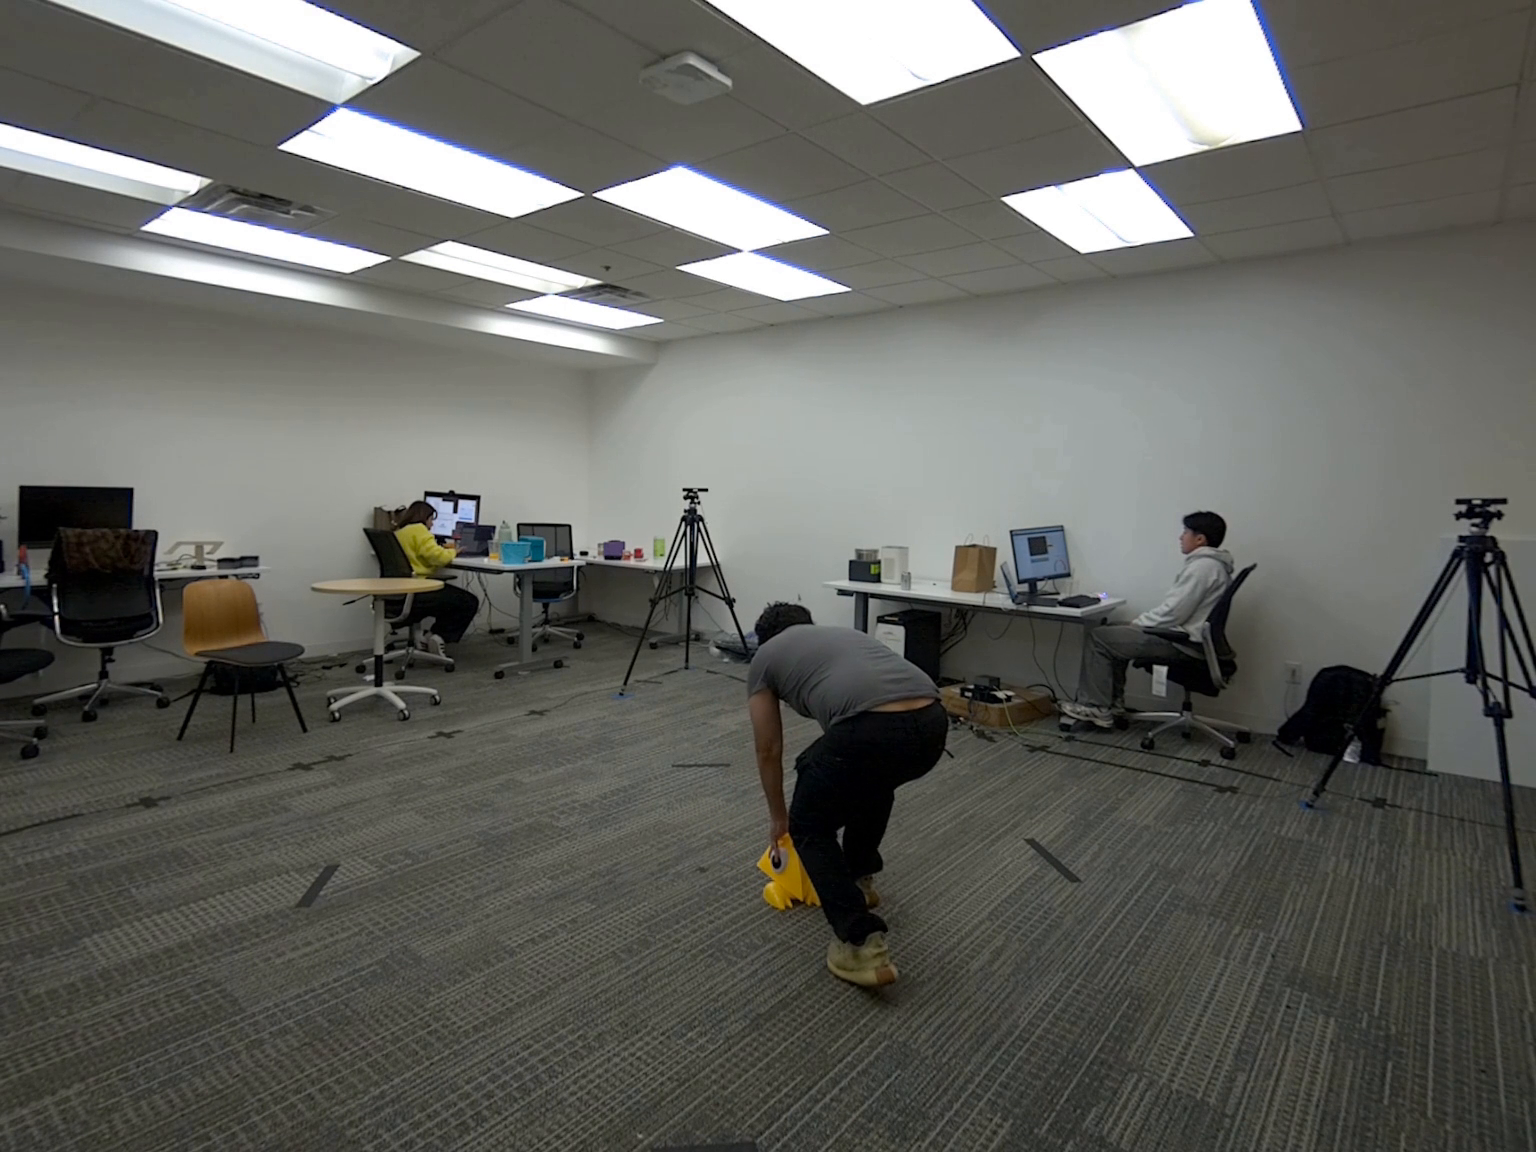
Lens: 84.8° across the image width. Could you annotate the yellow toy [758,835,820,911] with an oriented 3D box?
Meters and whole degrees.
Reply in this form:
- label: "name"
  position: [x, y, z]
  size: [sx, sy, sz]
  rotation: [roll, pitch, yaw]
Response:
- label: "yellow toy"
  position: [0.077, 0.982, 2.922]
  size: [0.201, 0.230, 0.197]
  rotation: [2, 2, -17]
